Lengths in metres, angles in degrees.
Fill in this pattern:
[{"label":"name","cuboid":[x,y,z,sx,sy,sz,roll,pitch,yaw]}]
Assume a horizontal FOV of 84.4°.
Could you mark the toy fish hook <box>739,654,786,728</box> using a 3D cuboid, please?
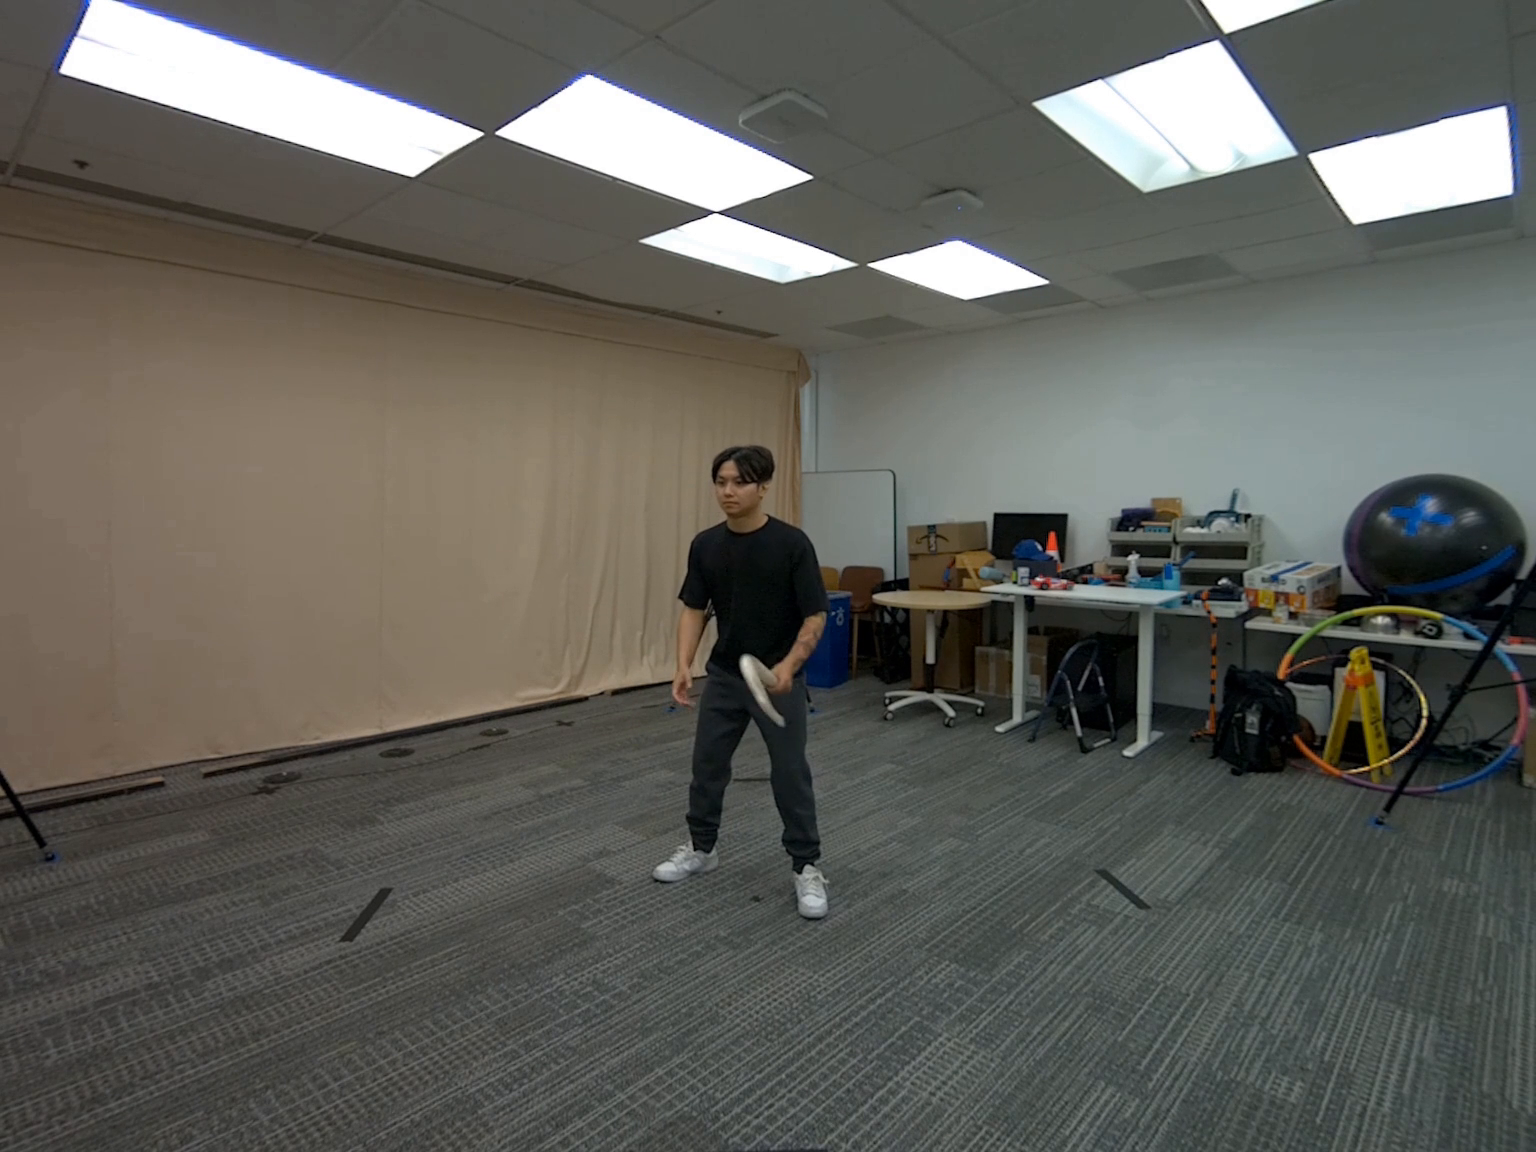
[{"label":"toy fish hook","cuboid":[0.015,0.348,2.631,0.048,0.228,0.495,-23,-16,7]}]
